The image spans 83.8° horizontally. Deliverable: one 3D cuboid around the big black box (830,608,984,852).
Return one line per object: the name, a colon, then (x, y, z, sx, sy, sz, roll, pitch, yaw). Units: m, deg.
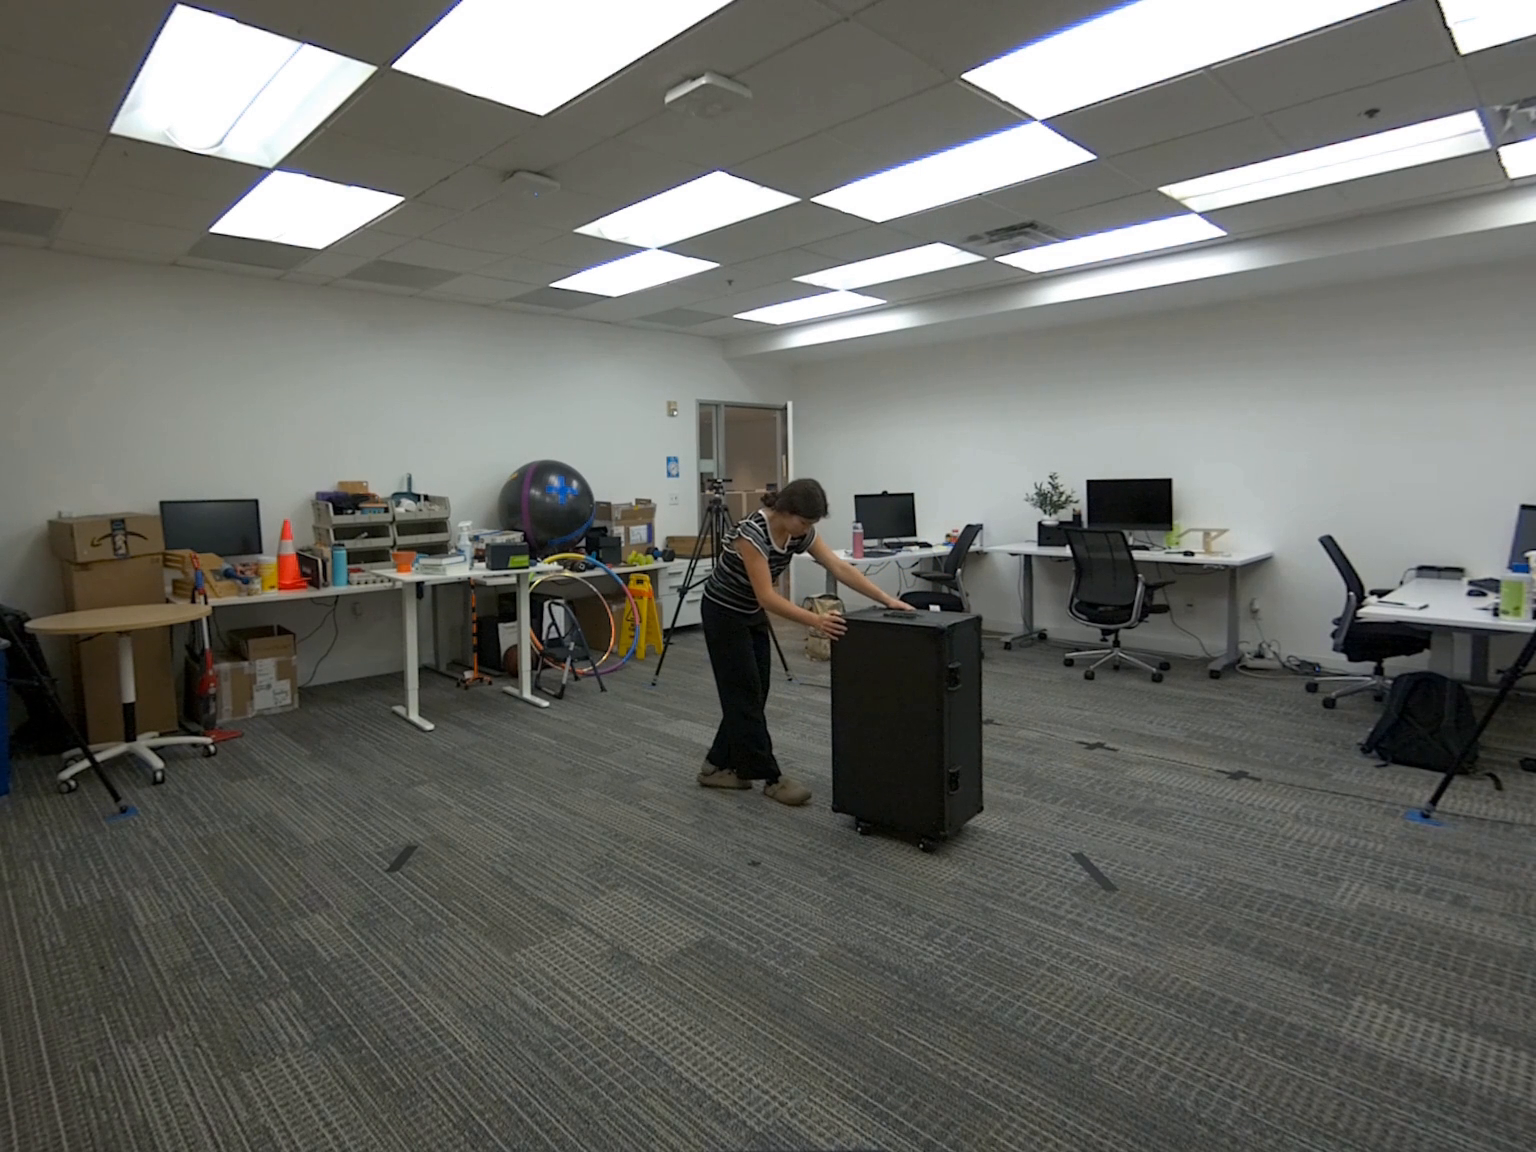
big black box: (0.546, 0.582, 3.383, 0.536, 0.859, 0.386, 1, 3, 38)
